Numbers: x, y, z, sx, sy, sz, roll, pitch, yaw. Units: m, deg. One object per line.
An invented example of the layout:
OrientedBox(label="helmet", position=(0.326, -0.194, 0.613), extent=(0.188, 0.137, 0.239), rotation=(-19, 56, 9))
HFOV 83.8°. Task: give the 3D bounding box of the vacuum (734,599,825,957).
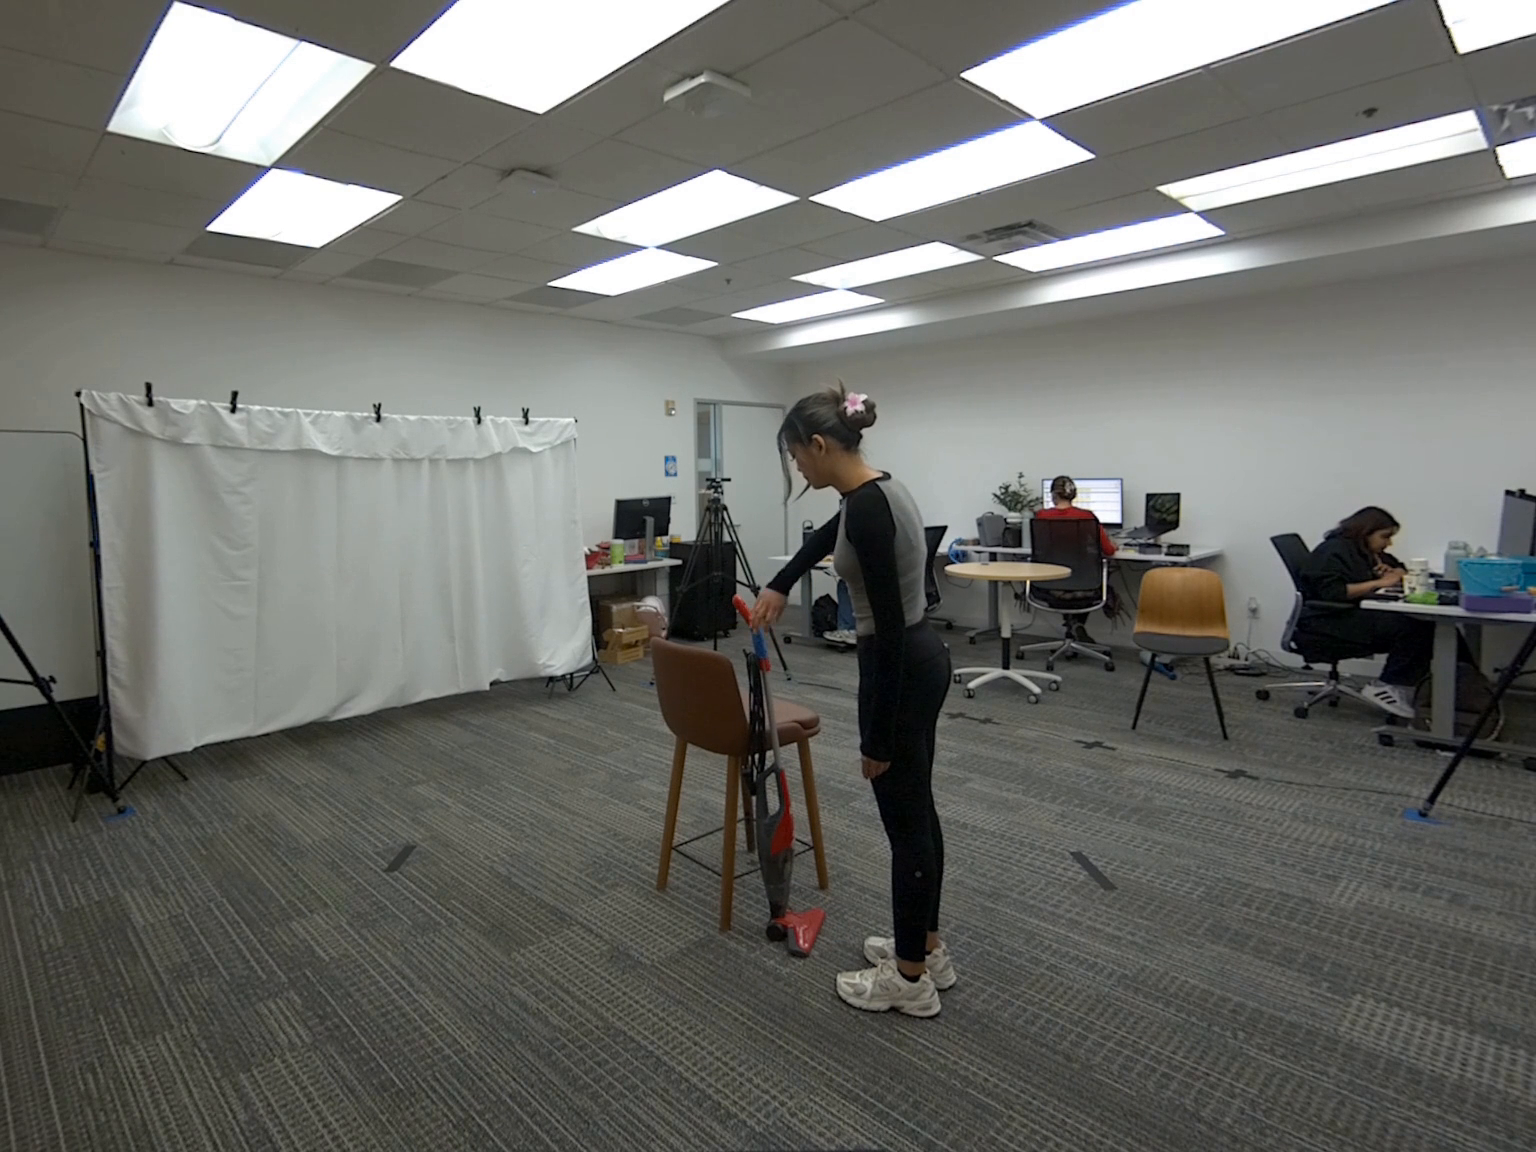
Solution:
OrientedBox(label="vacuum", position=(0.007, 0.581, 2.614), extent=(0.140, 1.051, 0.259), rotation=(-1, -2, -35))
